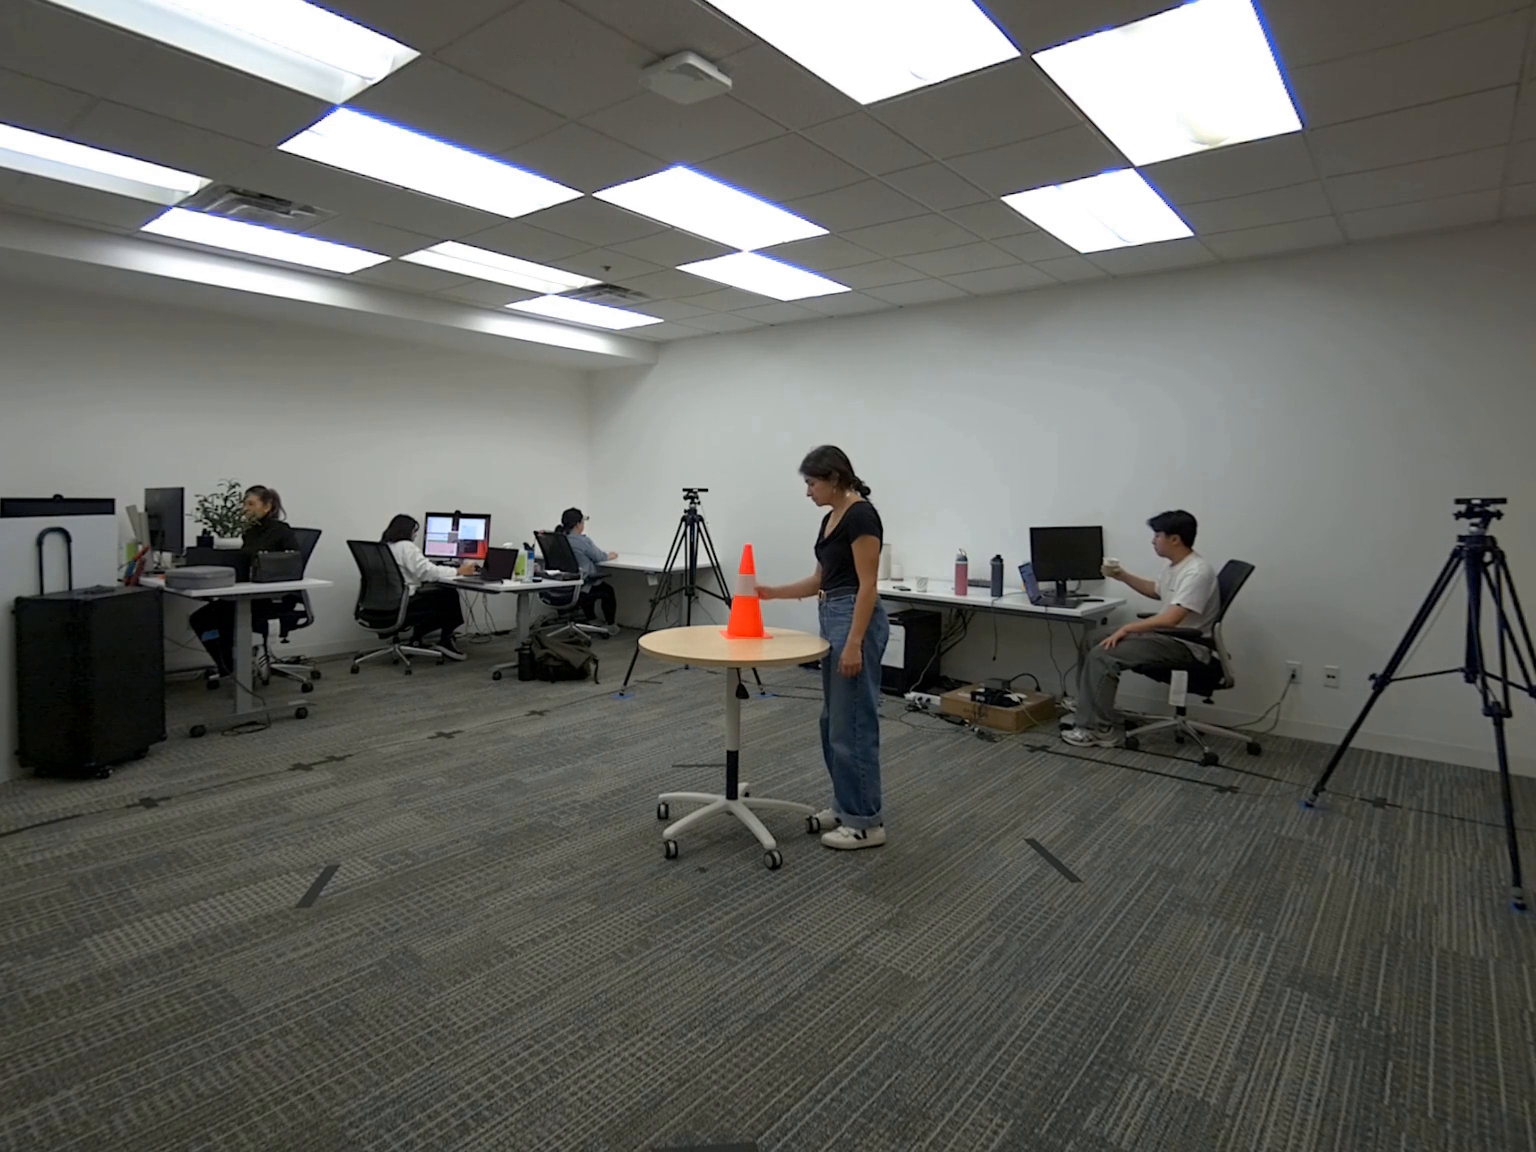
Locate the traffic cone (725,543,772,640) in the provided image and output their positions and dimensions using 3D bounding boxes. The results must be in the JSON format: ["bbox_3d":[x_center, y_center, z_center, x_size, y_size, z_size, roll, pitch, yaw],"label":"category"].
[{"bbox_3d":[-0.086,0.053,3.573,0.200,0.382,0.209,1,6,-17],"label":"traffic cone"}]
